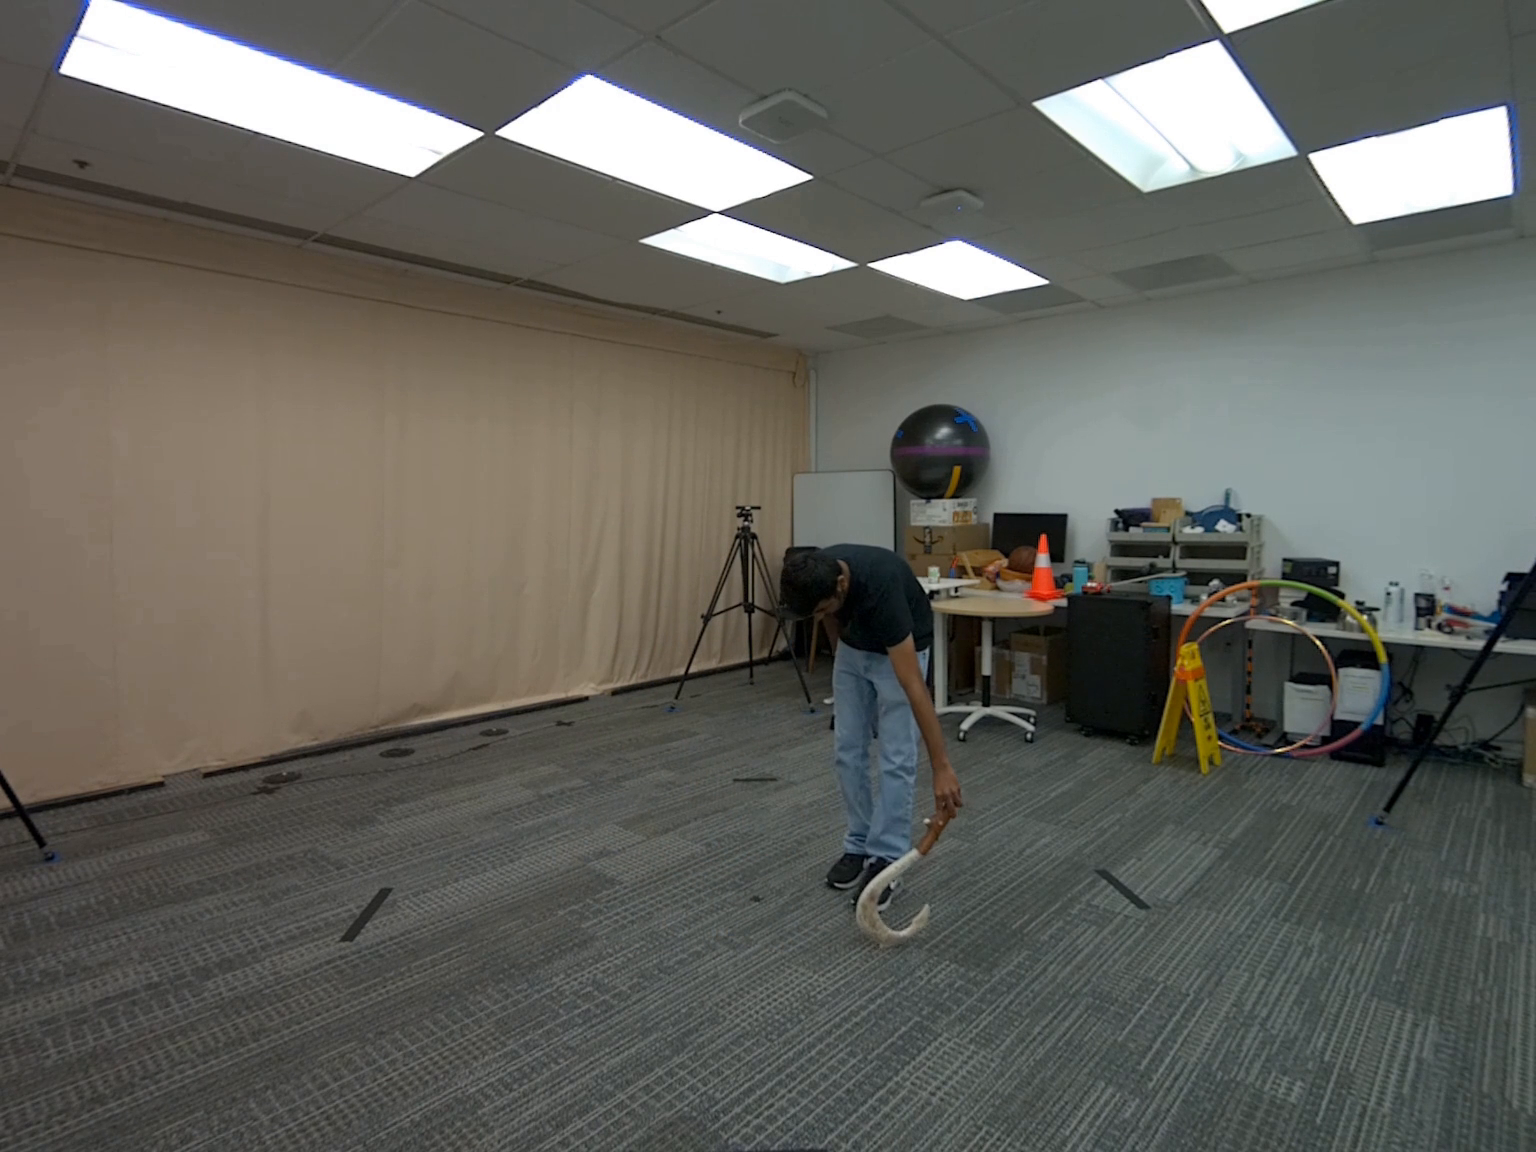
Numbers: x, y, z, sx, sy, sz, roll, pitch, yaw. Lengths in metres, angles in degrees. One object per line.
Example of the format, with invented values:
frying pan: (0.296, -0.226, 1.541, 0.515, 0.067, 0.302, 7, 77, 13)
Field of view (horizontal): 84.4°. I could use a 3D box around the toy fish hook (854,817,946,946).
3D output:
toy fish hook: (0.483, 0.946, 2.688, 0.222, 0.506, 0.049, 37, -7, -9)
